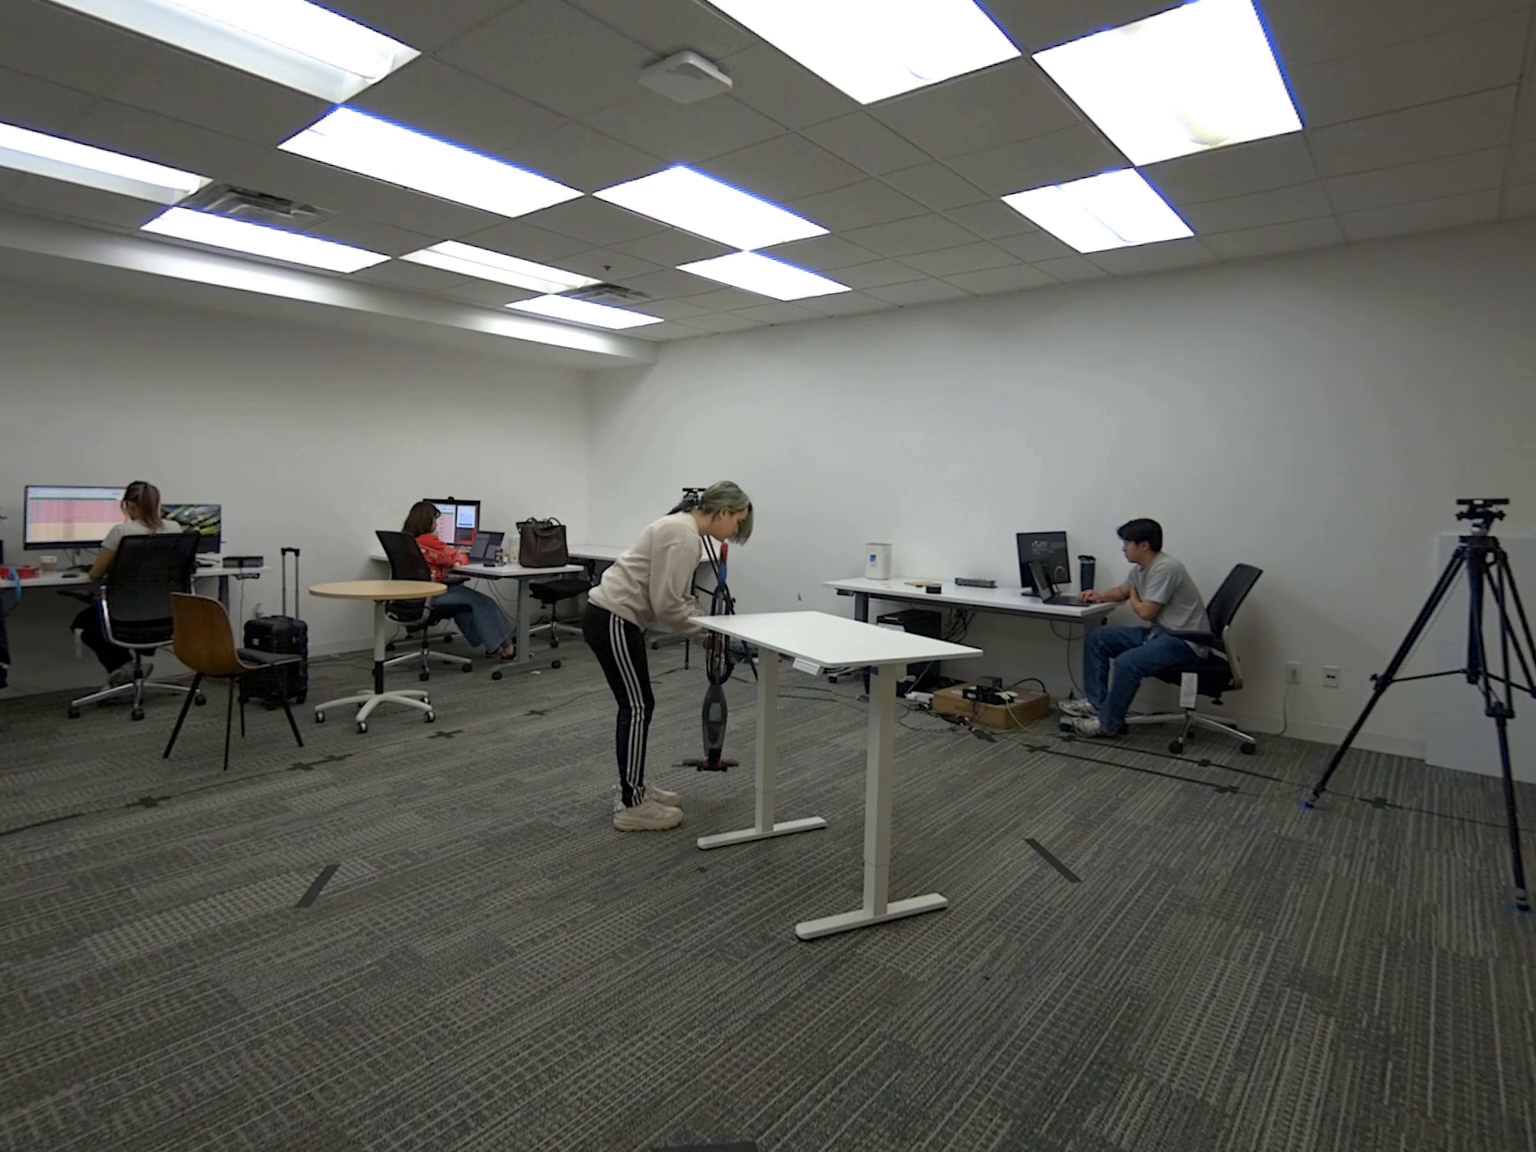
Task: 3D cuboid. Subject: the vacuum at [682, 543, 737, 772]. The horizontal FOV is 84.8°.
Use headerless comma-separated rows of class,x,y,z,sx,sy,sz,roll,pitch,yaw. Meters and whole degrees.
vacuum,-0.228,0.365,3.607,0.251,1.032,0.147,2,19,-7
